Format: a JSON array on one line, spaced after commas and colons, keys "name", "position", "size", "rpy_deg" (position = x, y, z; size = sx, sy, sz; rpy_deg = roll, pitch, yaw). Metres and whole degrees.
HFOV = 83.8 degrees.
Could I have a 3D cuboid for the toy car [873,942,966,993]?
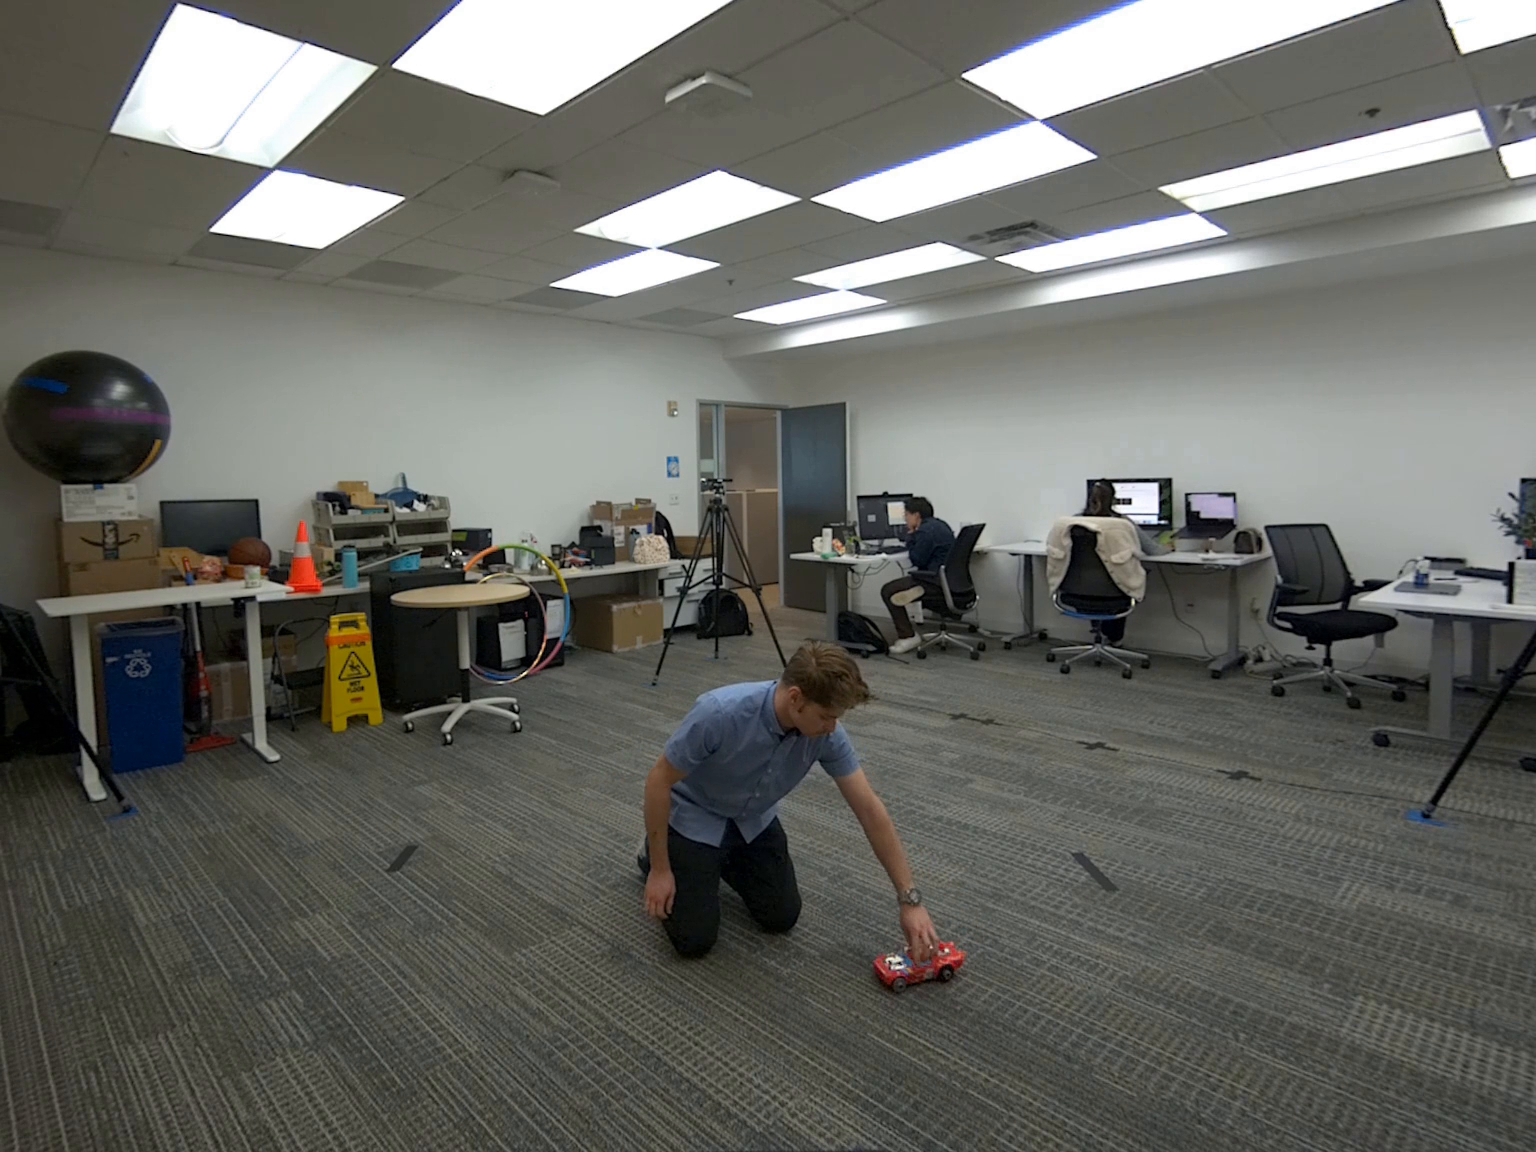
[{"name": "toy car", "position": [0.426, 1.081, 2.394], "size": [0.252, 0.082, 0.133], "rpy_deg": [-14, 9, -15]}]
